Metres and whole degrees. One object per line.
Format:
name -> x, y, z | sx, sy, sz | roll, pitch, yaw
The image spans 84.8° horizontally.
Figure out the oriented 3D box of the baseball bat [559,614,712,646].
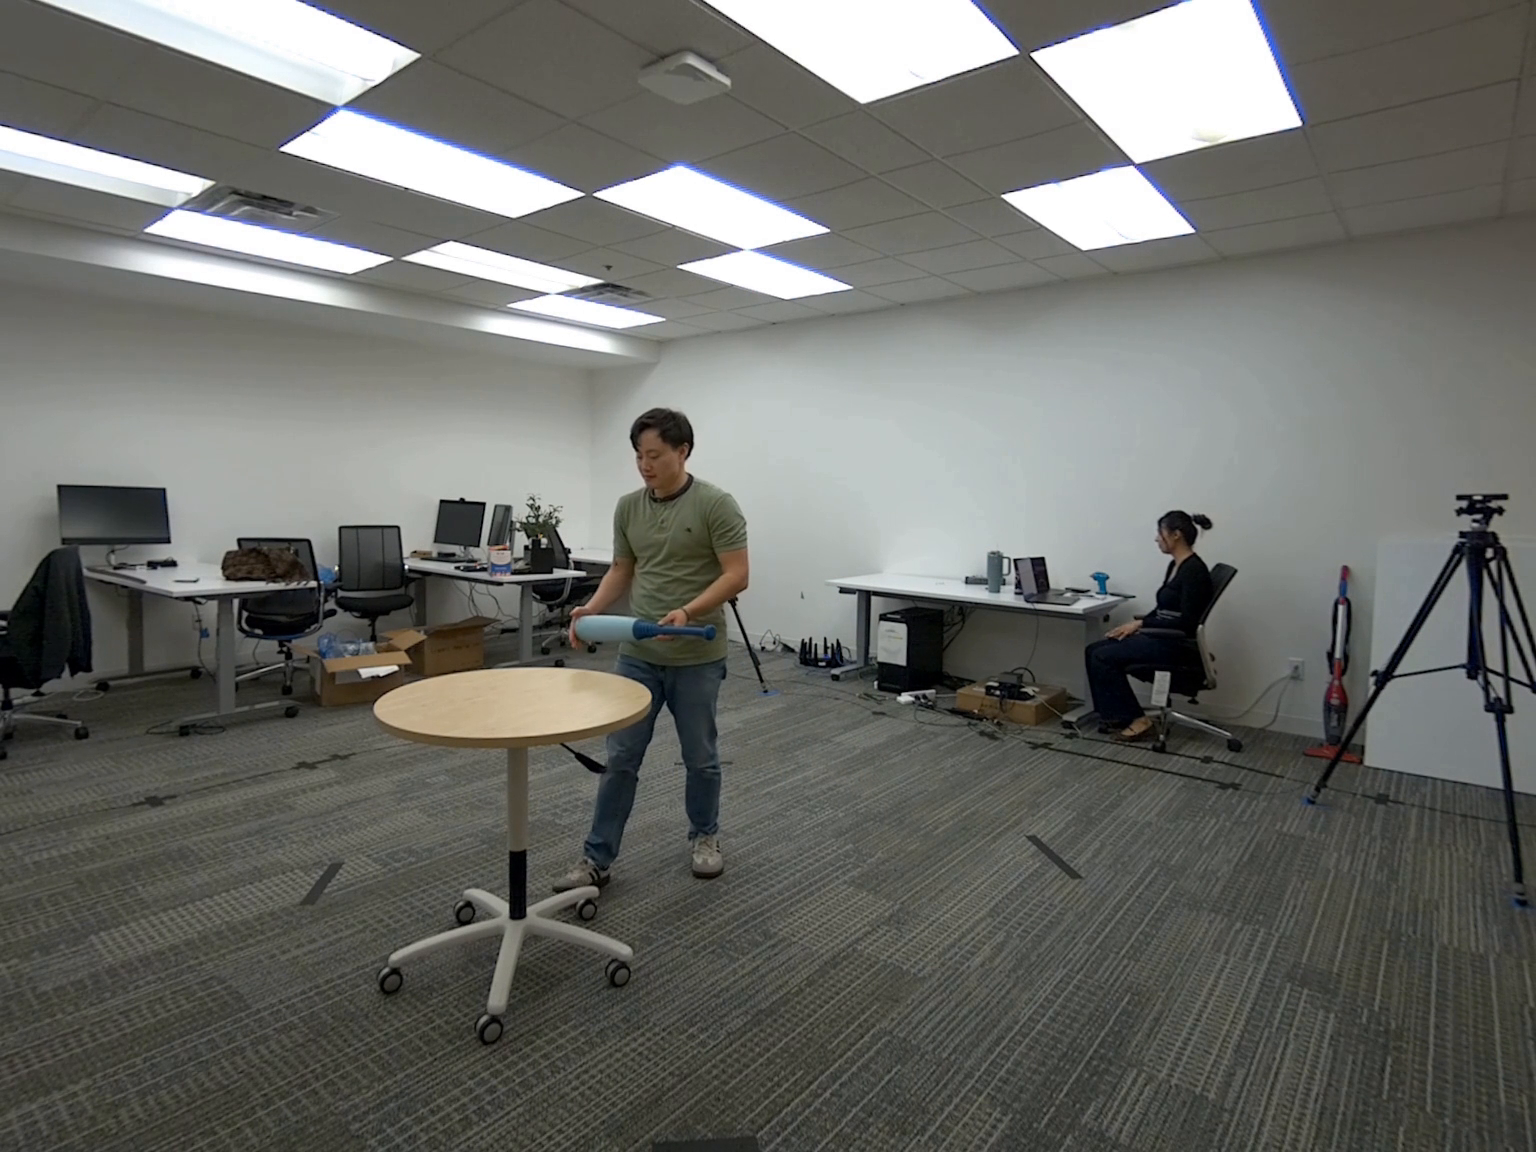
baseball bat -> -0.444, 0.175, 2.744 | 0.558, 0.089, 0.087 | -1, 3, 30
